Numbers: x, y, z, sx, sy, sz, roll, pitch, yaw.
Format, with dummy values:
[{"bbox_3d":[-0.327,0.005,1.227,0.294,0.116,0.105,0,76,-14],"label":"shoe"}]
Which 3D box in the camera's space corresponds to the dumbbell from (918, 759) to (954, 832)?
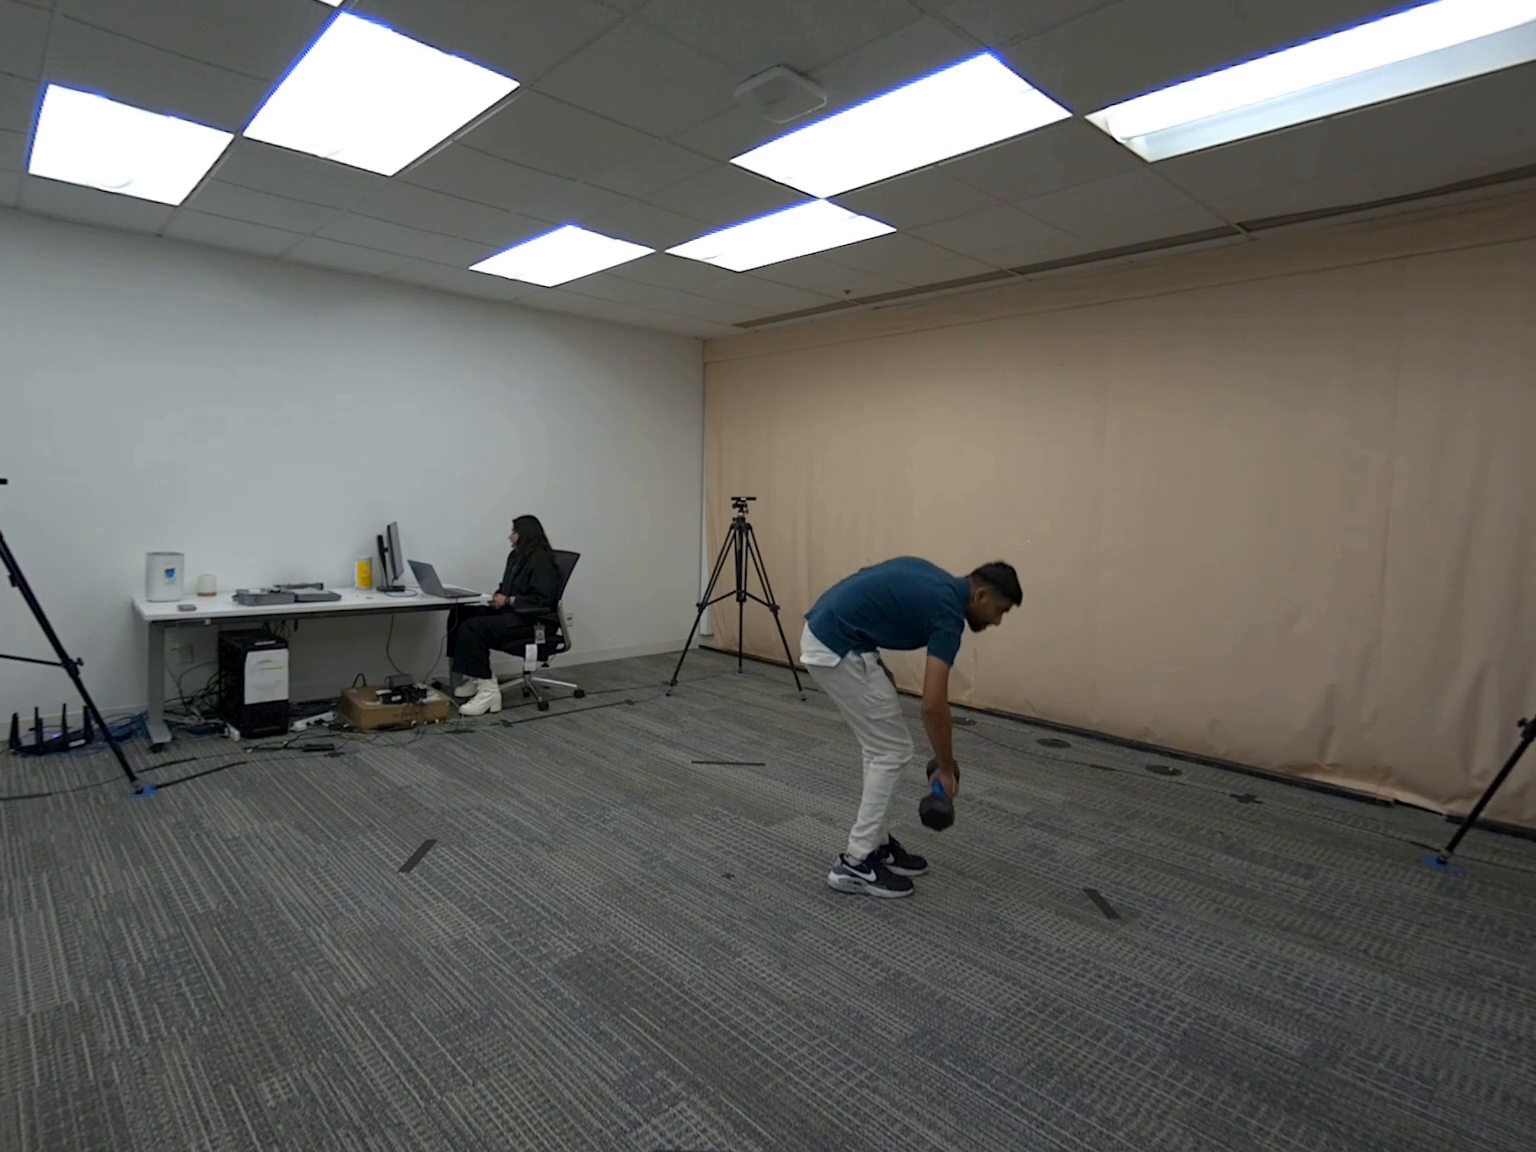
[{"bbox_3d":[0.603,0.762,2.974,0.124,0.107,0.294,21,28,8],"label":"dumbbell"}]
